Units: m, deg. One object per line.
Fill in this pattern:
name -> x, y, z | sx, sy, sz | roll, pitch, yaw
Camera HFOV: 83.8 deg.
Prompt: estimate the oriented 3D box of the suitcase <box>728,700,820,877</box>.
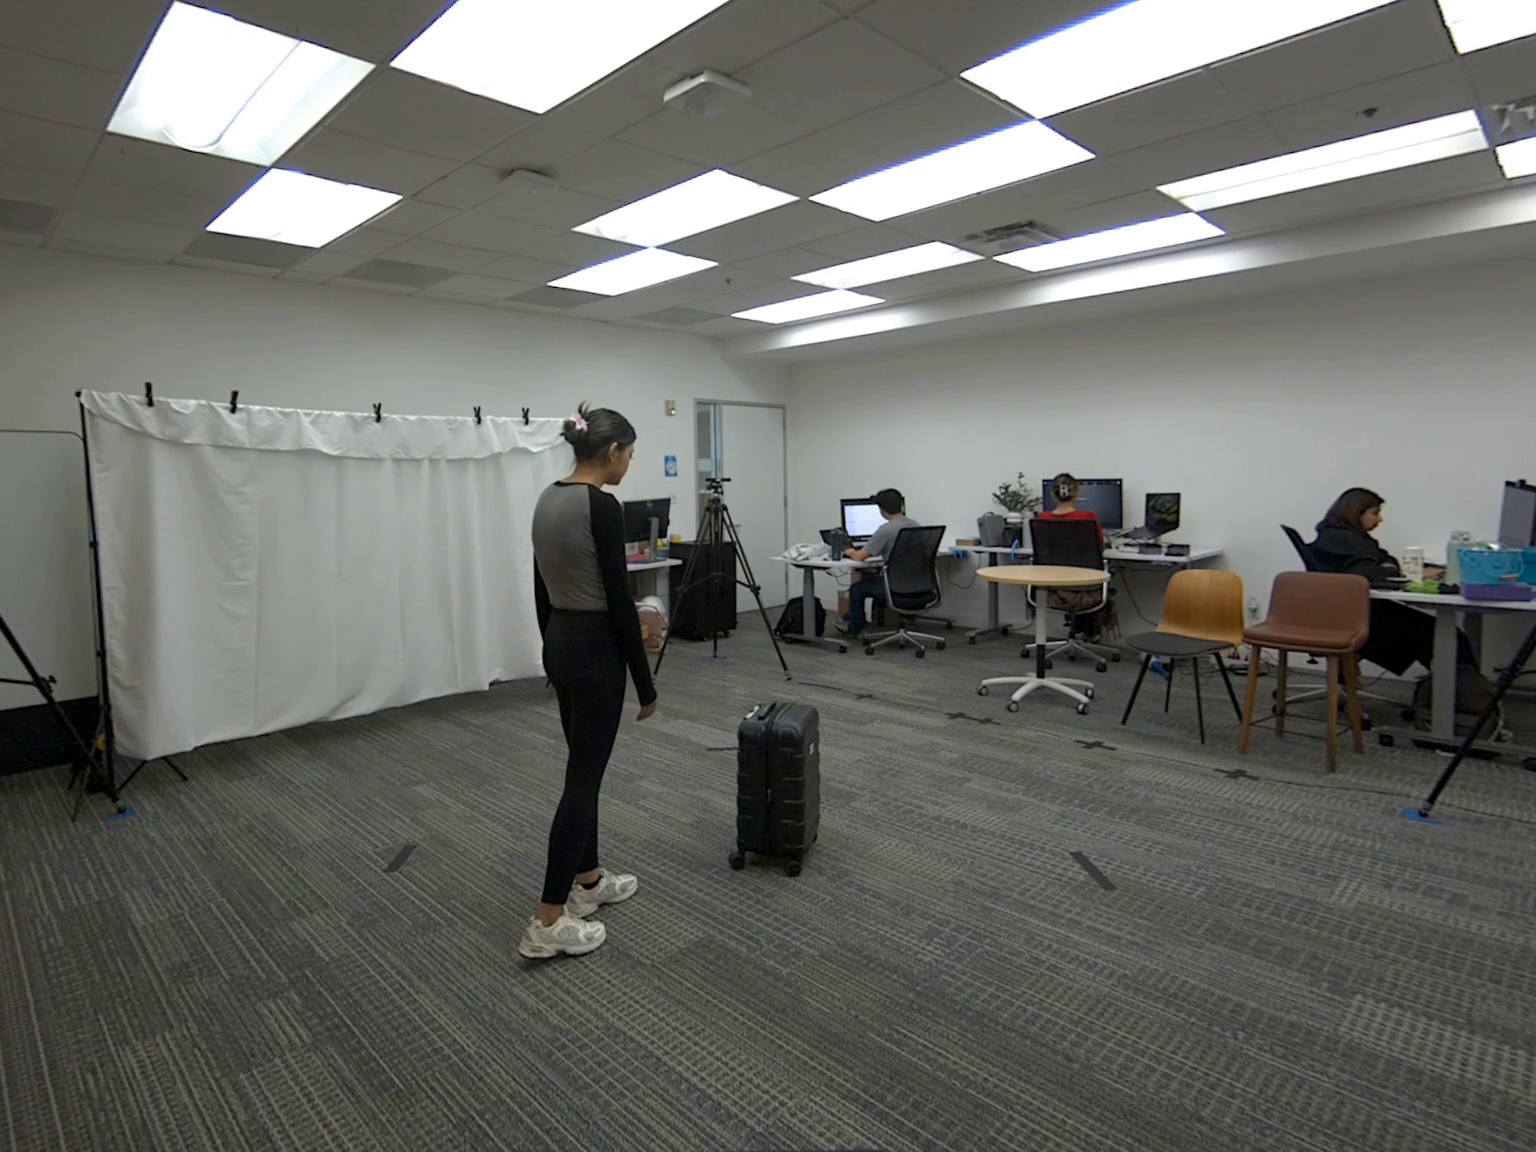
suitcase -> 0.046, 0.759, 3.168 | 0.252, 0.547, 0.370 | 2, 4, 16
